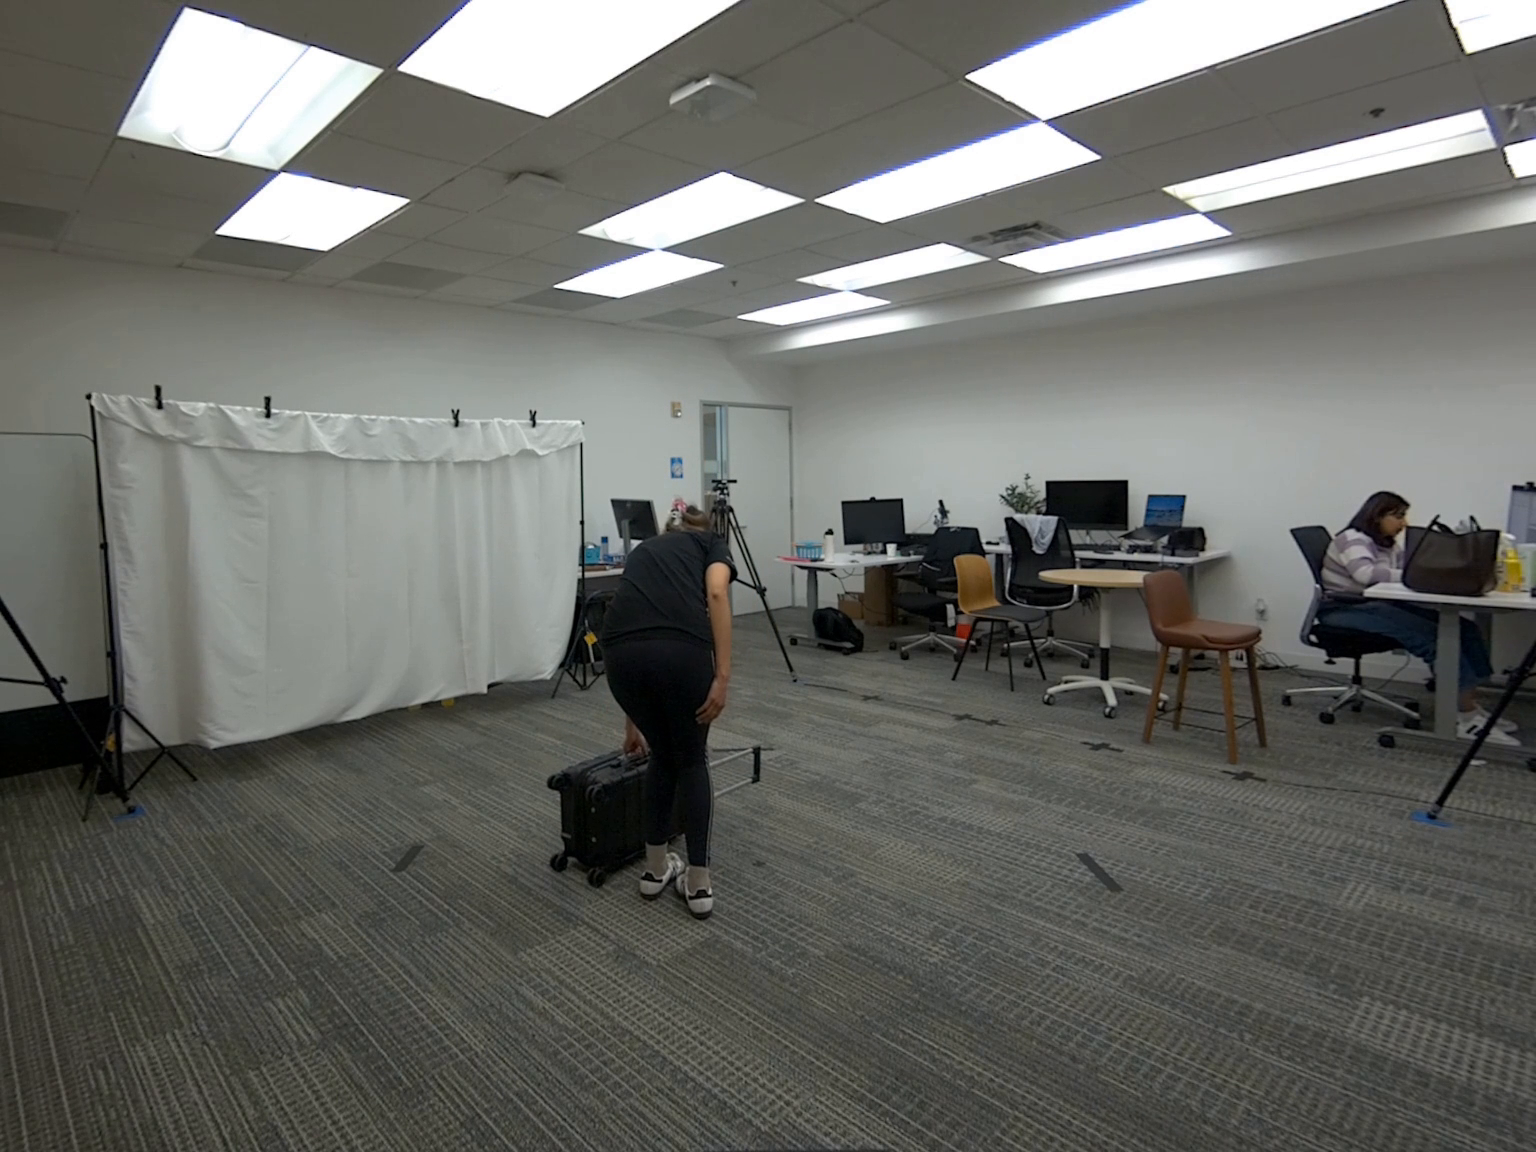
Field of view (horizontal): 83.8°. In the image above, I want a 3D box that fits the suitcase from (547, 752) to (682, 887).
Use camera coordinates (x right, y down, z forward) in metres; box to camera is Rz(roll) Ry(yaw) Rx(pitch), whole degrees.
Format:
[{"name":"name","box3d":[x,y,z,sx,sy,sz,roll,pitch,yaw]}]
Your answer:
[{"name":"suitcase","box3d":[-0.416,0.836,3.381,0.264,0.383,0.954,1,6,36]}]
